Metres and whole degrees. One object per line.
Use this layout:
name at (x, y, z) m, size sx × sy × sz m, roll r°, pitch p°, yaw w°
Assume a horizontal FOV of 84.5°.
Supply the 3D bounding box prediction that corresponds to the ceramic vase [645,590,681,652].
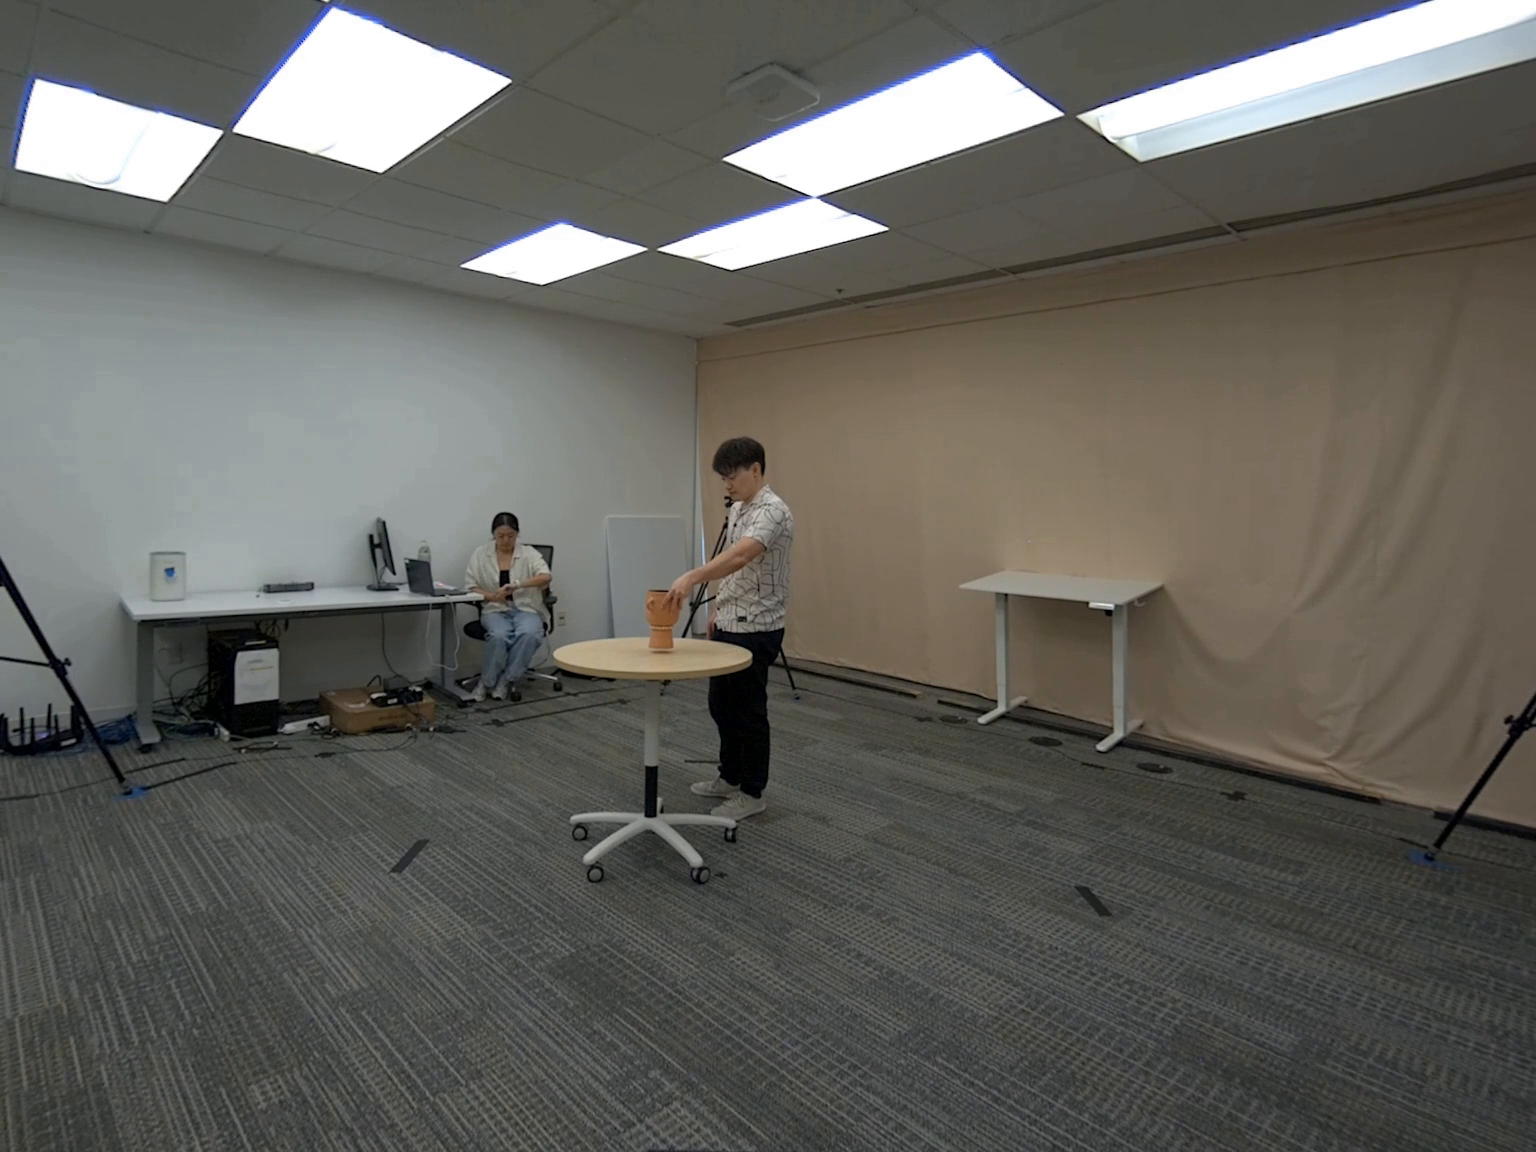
ceramic vase at (-0.424, 0.170, 3.276) m, size 0.156 × 0.219 × 0.137 m, roll 2°, pitch 2°, yaw -23°
